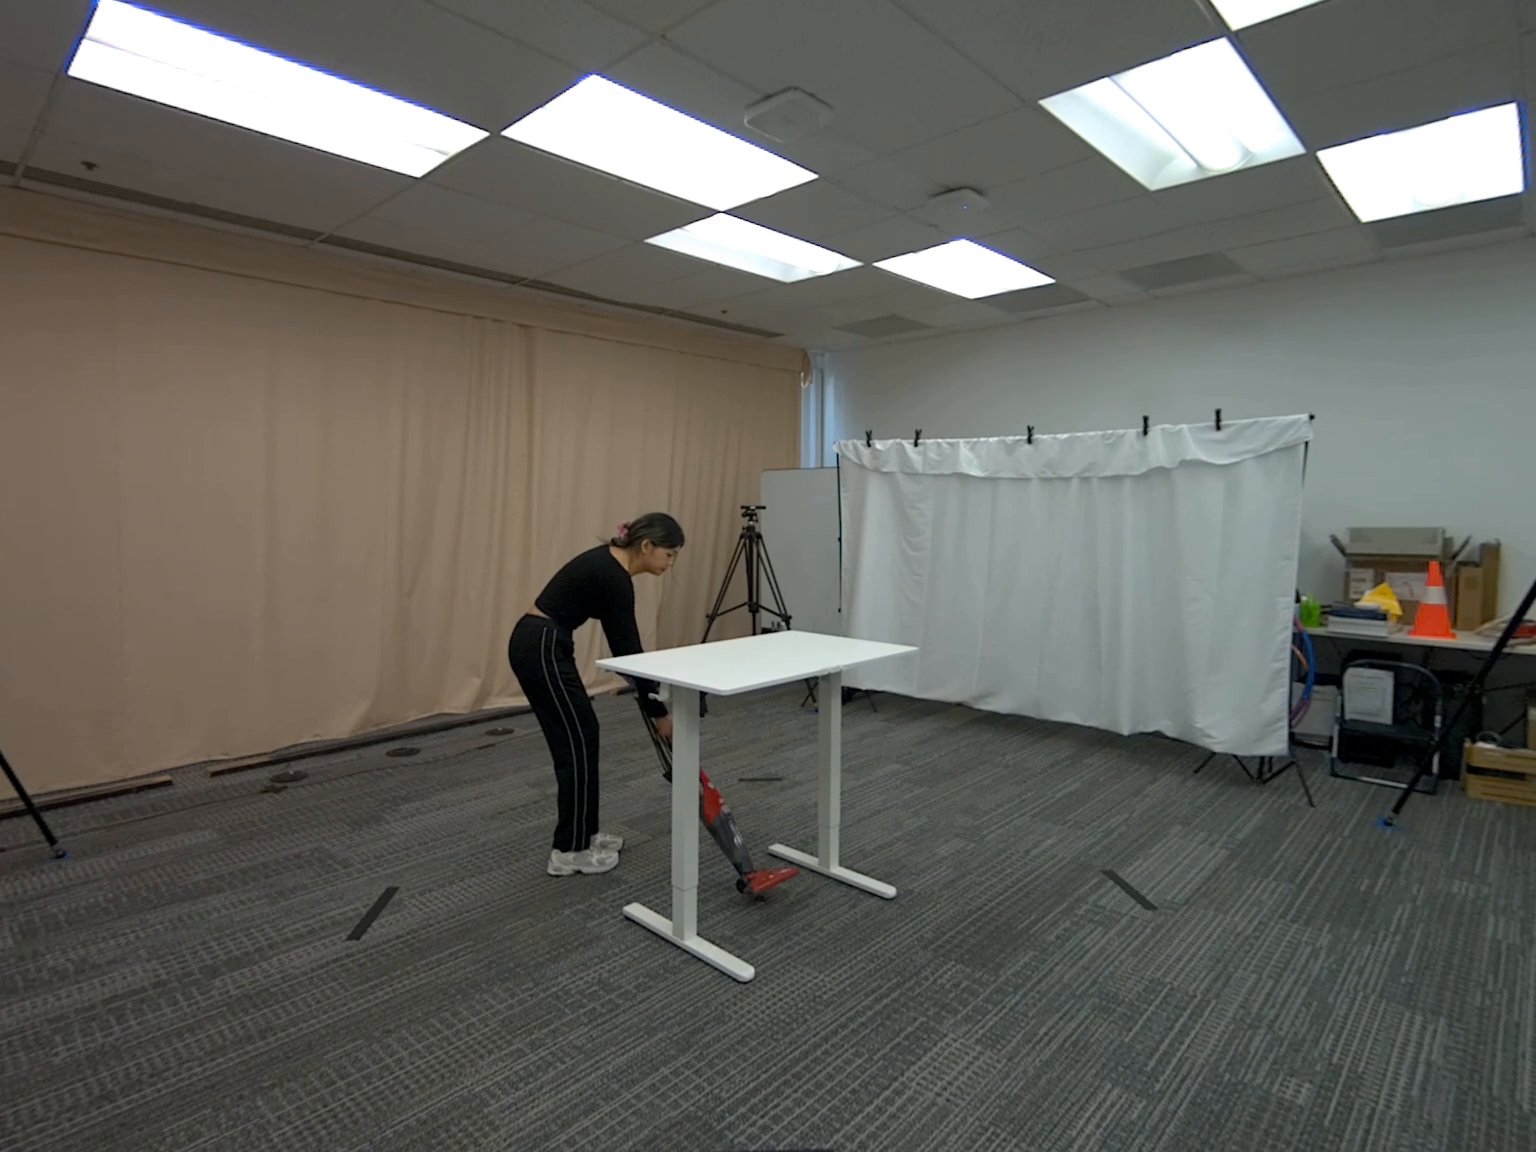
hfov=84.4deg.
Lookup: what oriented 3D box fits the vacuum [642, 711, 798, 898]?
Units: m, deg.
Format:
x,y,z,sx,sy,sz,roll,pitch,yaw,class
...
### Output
x,y,z,sx,sy,sz,roll,pitch,yaw,class
-0.302,0.741,3.213,0.244,0.144,1.083,6,36,-51,vacuum
